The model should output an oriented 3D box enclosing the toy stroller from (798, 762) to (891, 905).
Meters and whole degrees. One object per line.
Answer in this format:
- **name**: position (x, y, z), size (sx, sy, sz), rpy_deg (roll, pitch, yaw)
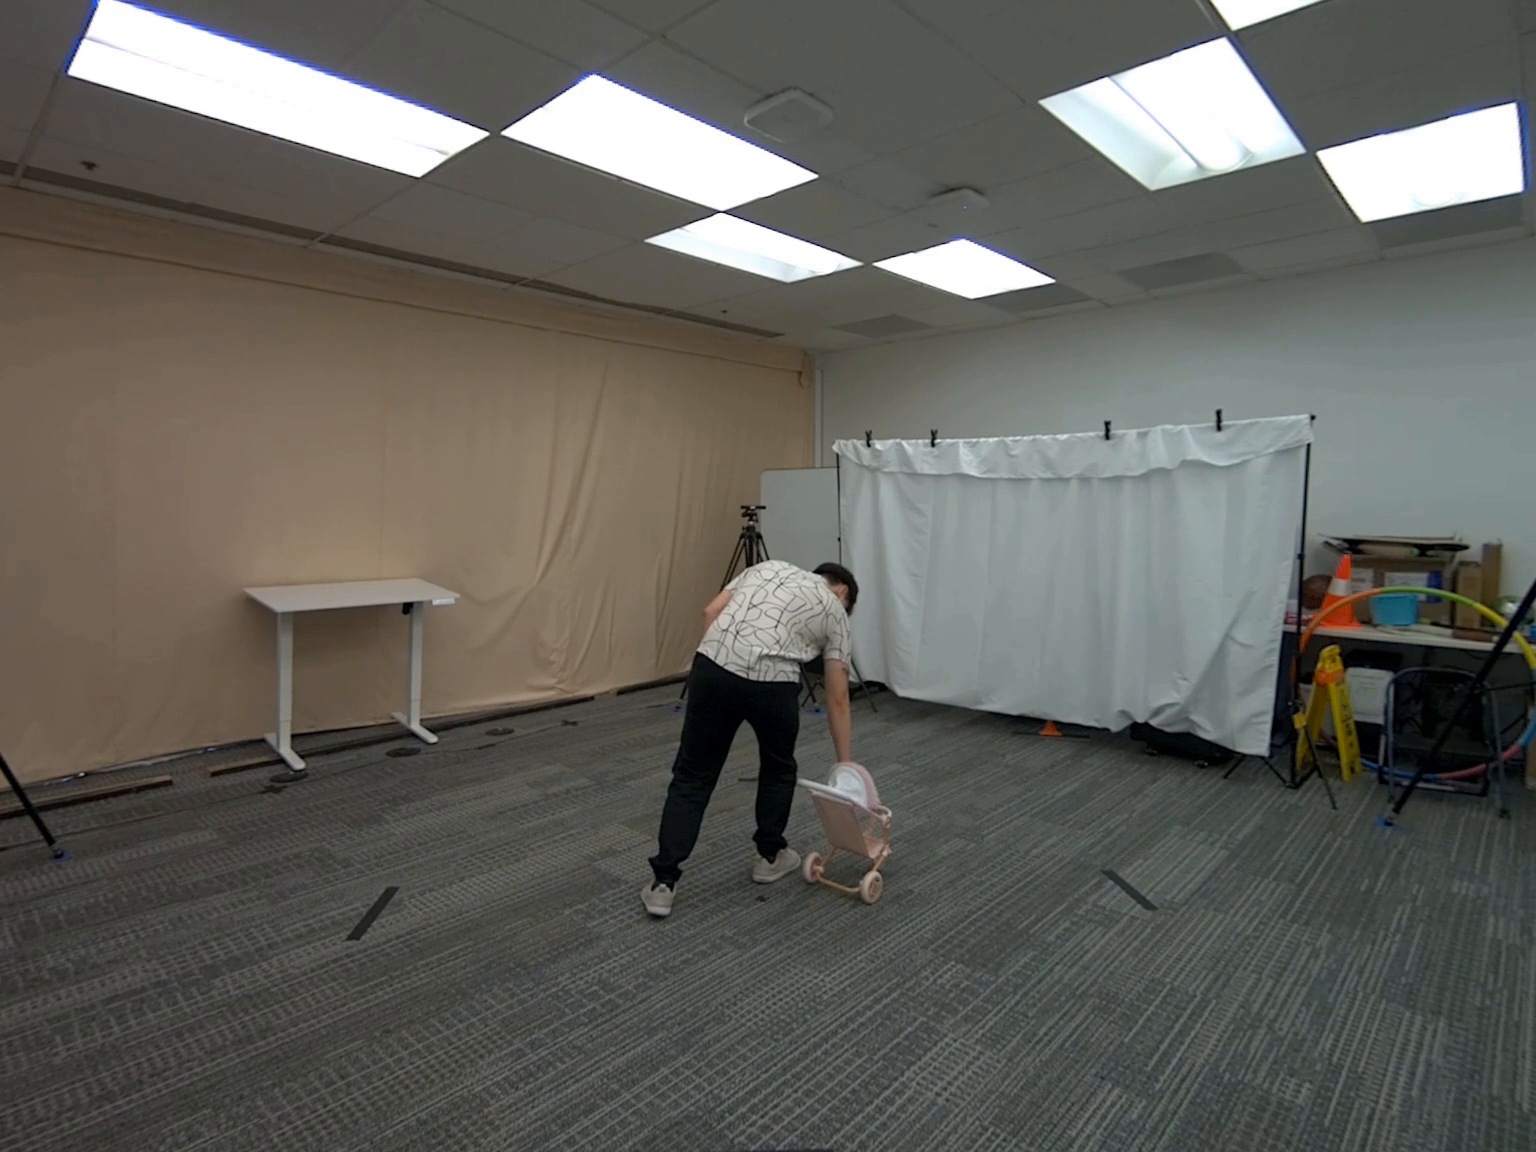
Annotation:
- **toy stroller**: position (0.313, 0.914, 3.063), size (0.291, 0.529, 0.334), rpy_deg (3, 20, 43)
